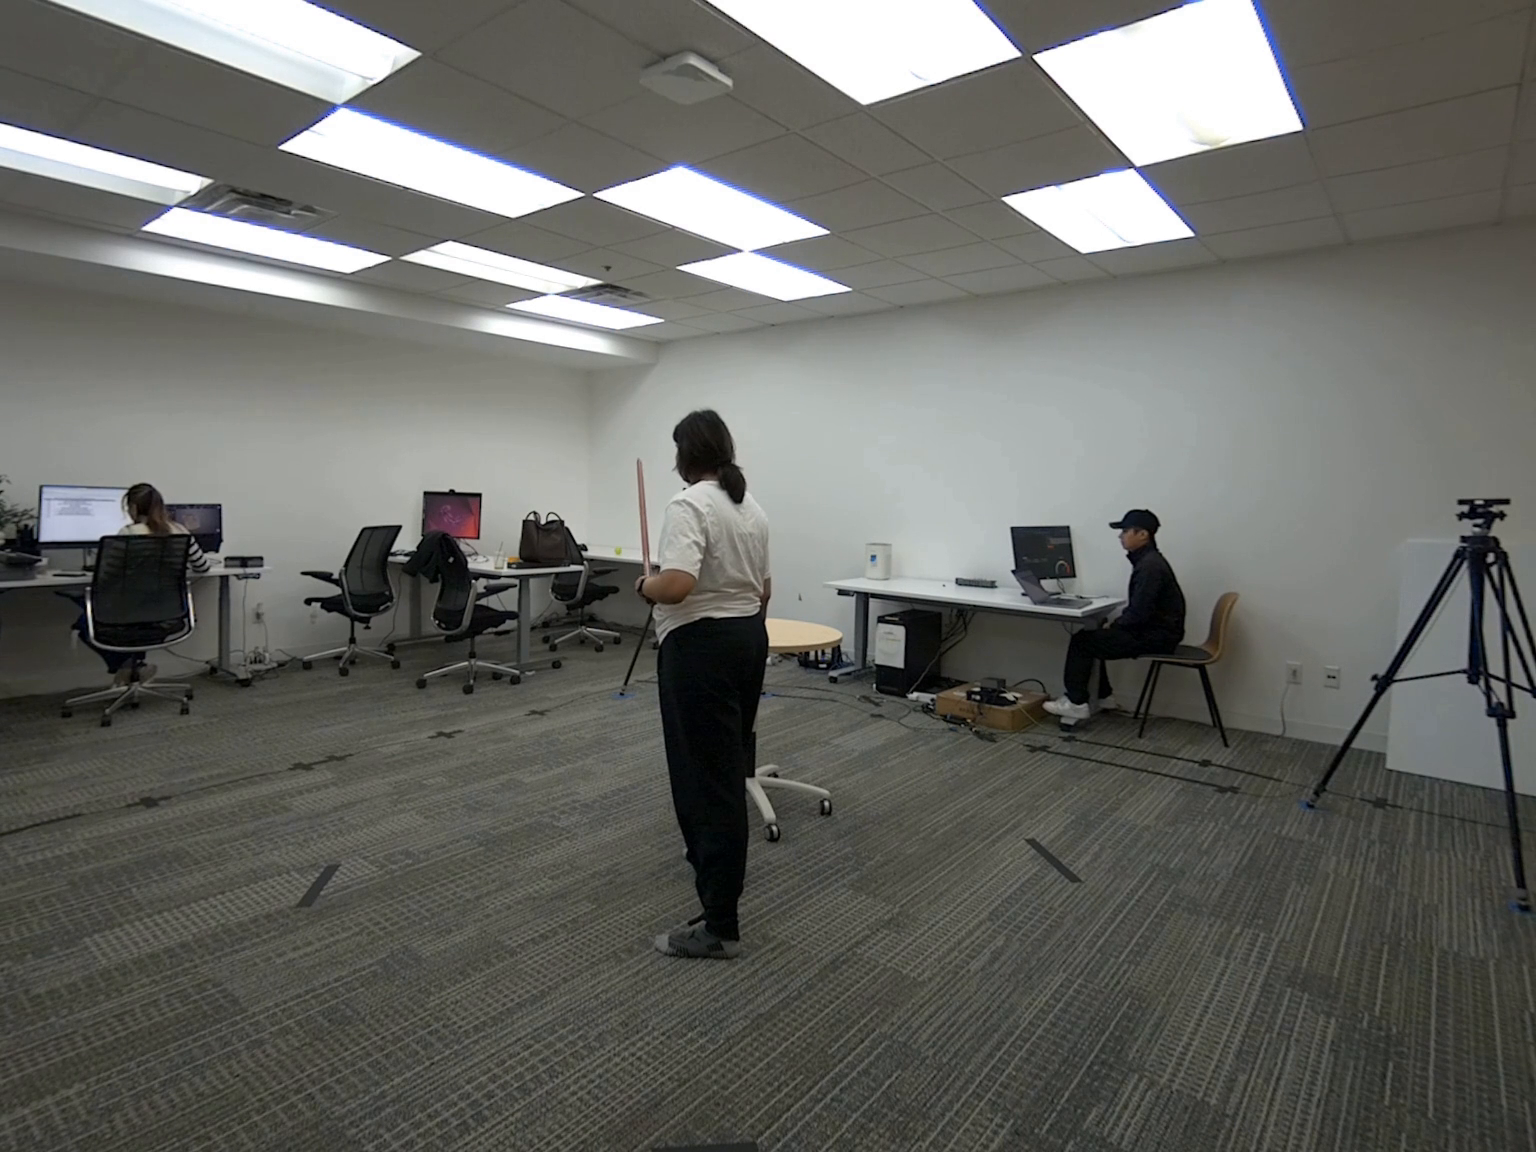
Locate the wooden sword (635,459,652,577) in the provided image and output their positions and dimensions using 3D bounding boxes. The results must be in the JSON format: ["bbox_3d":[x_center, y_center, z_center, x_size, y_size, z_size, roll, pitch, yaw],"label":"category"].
[{"bbox_3d":[-0.470,-0.180,3.153,0.024,0.049,1.058,-22,35,7],"label":"wooden sword"}]
